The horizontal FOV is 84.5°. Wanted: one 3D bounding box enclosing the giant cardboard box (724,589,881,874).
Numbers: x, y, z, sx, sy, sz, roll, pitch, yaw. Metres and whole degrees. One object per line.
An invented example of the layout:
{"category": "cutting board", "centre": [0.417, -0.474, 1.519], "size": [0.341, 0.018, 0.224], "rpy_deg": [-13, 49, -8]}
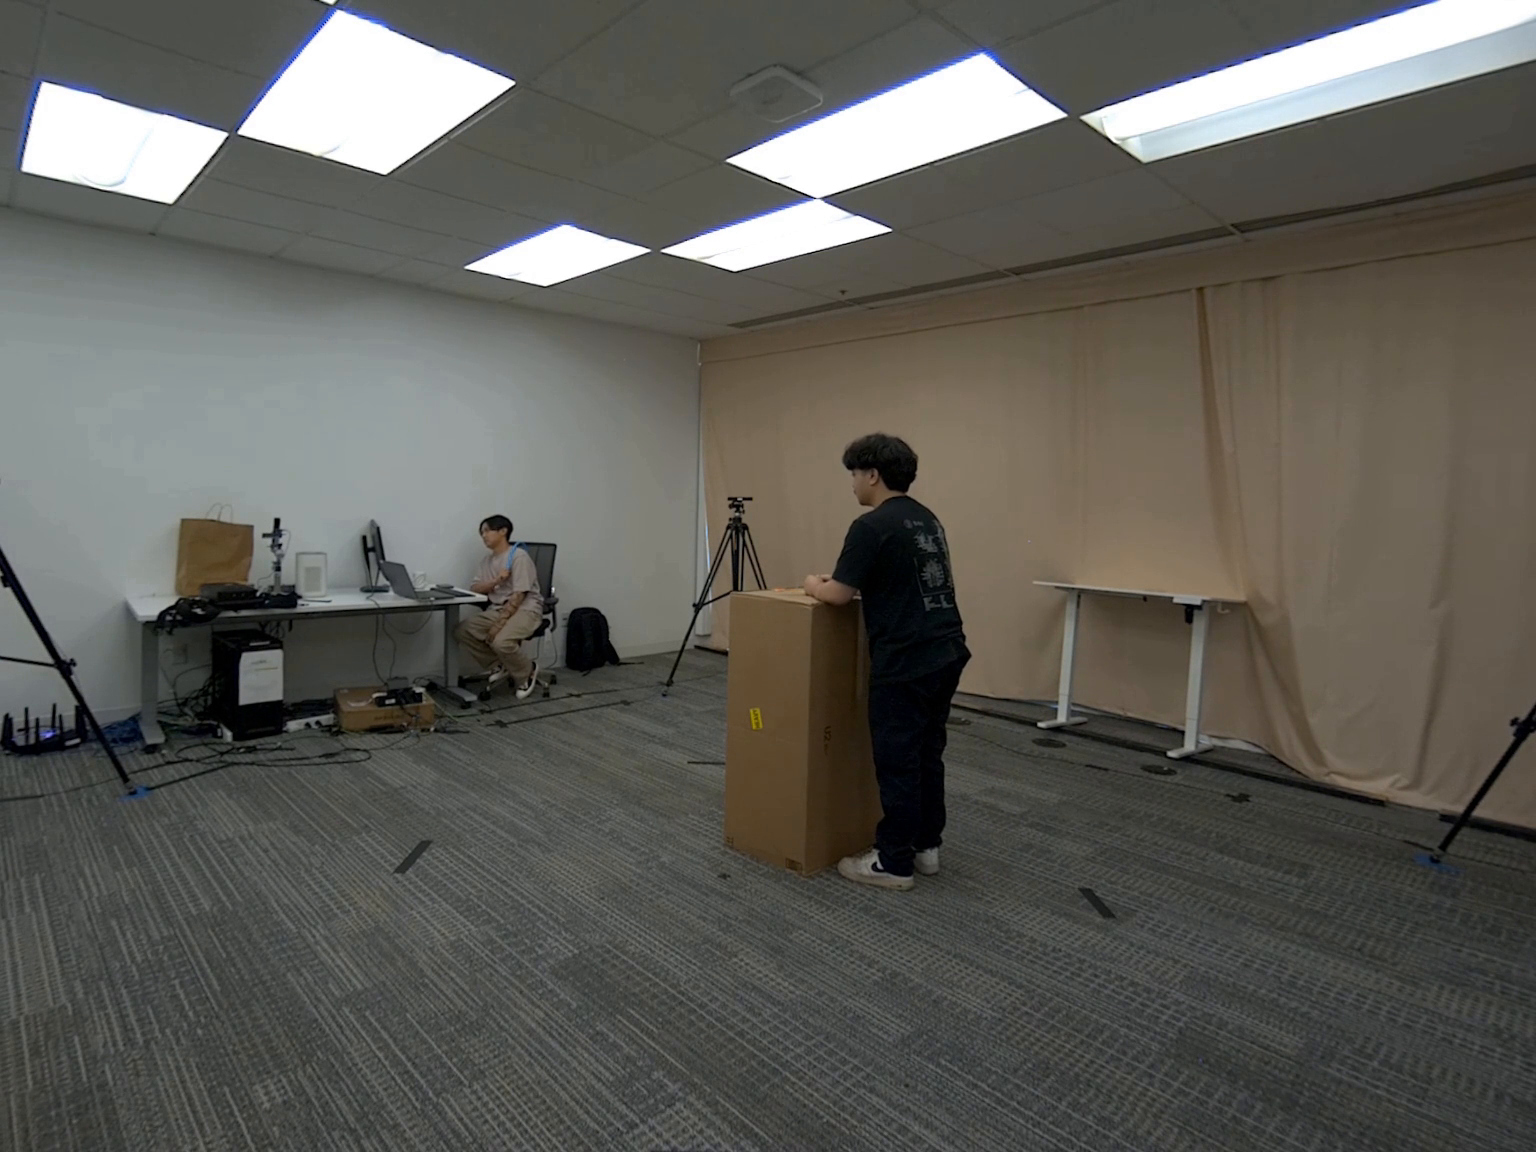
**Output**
{"category": "giant cardboard box", "centre": [0.170, 0.576, 3.436], "size": [0.458, 1.025, 0.570], "rpy_deg": [3, 3, 44]}
